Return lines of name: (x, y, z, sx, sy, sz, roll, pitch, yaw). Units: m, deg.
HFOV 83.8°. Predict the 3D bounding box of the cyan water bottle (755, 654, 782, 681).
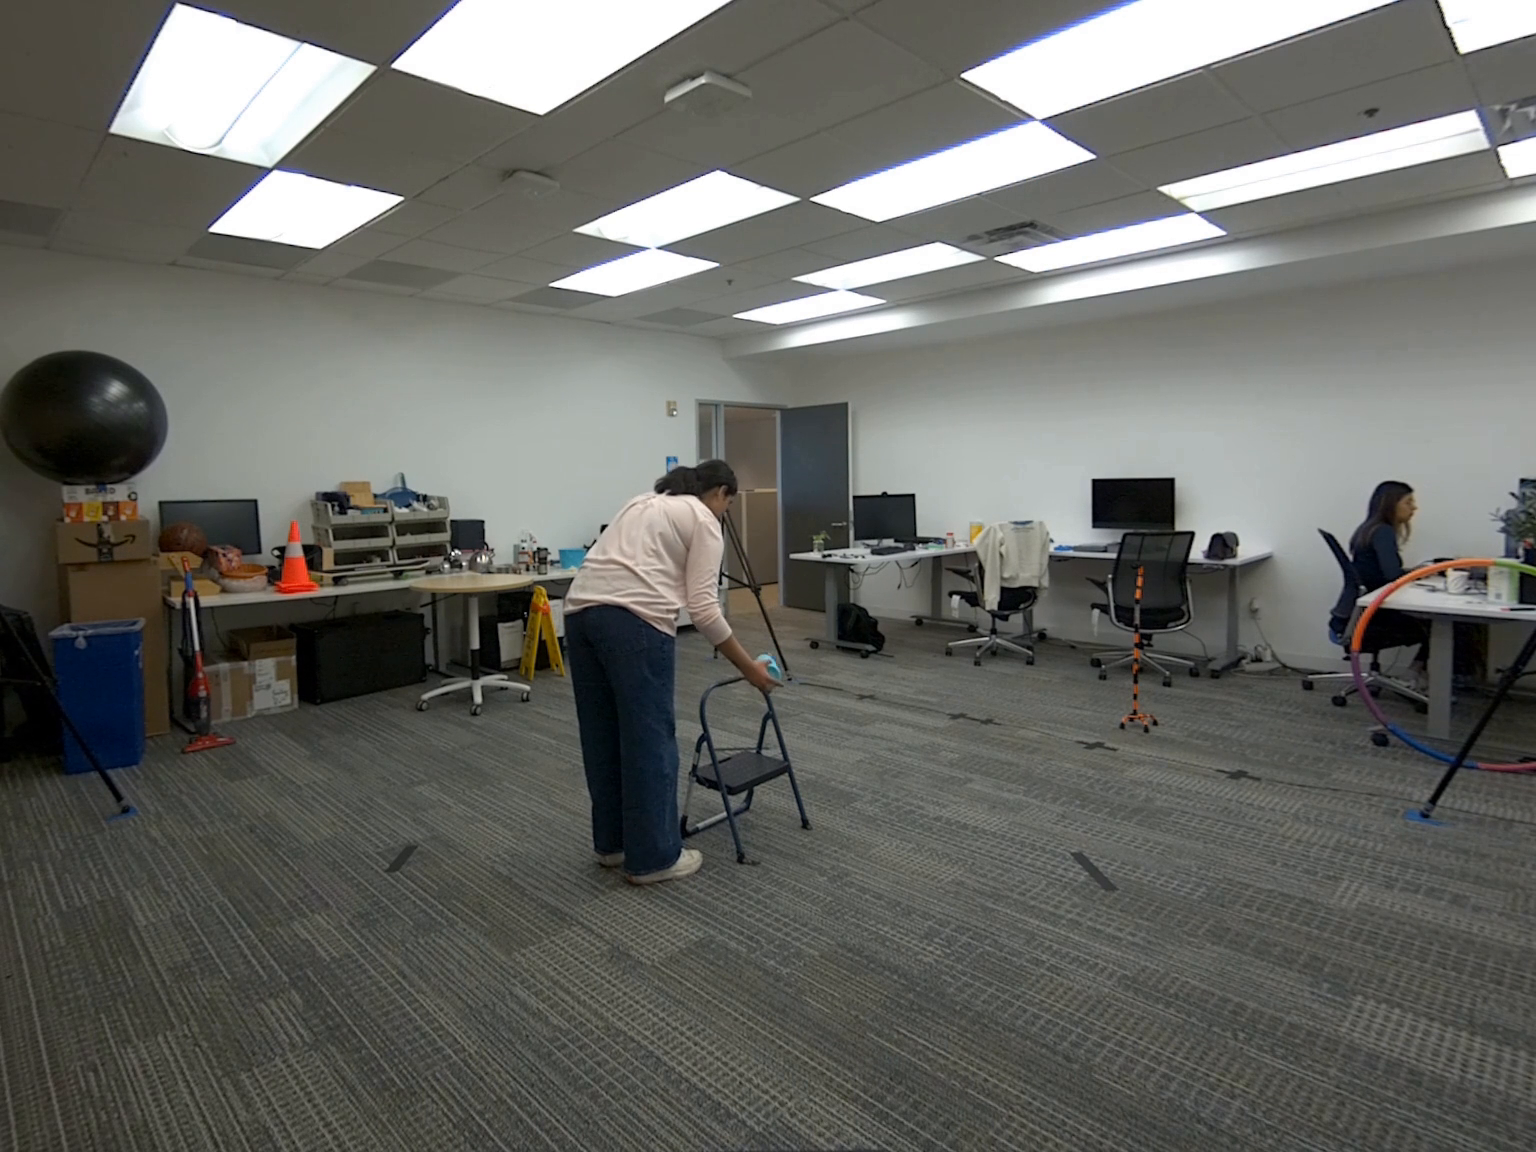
cyan water bottle: (-0.009, 0.345, 3.209, 0.092, 0.092, 0.284, -1, 4, -1)
